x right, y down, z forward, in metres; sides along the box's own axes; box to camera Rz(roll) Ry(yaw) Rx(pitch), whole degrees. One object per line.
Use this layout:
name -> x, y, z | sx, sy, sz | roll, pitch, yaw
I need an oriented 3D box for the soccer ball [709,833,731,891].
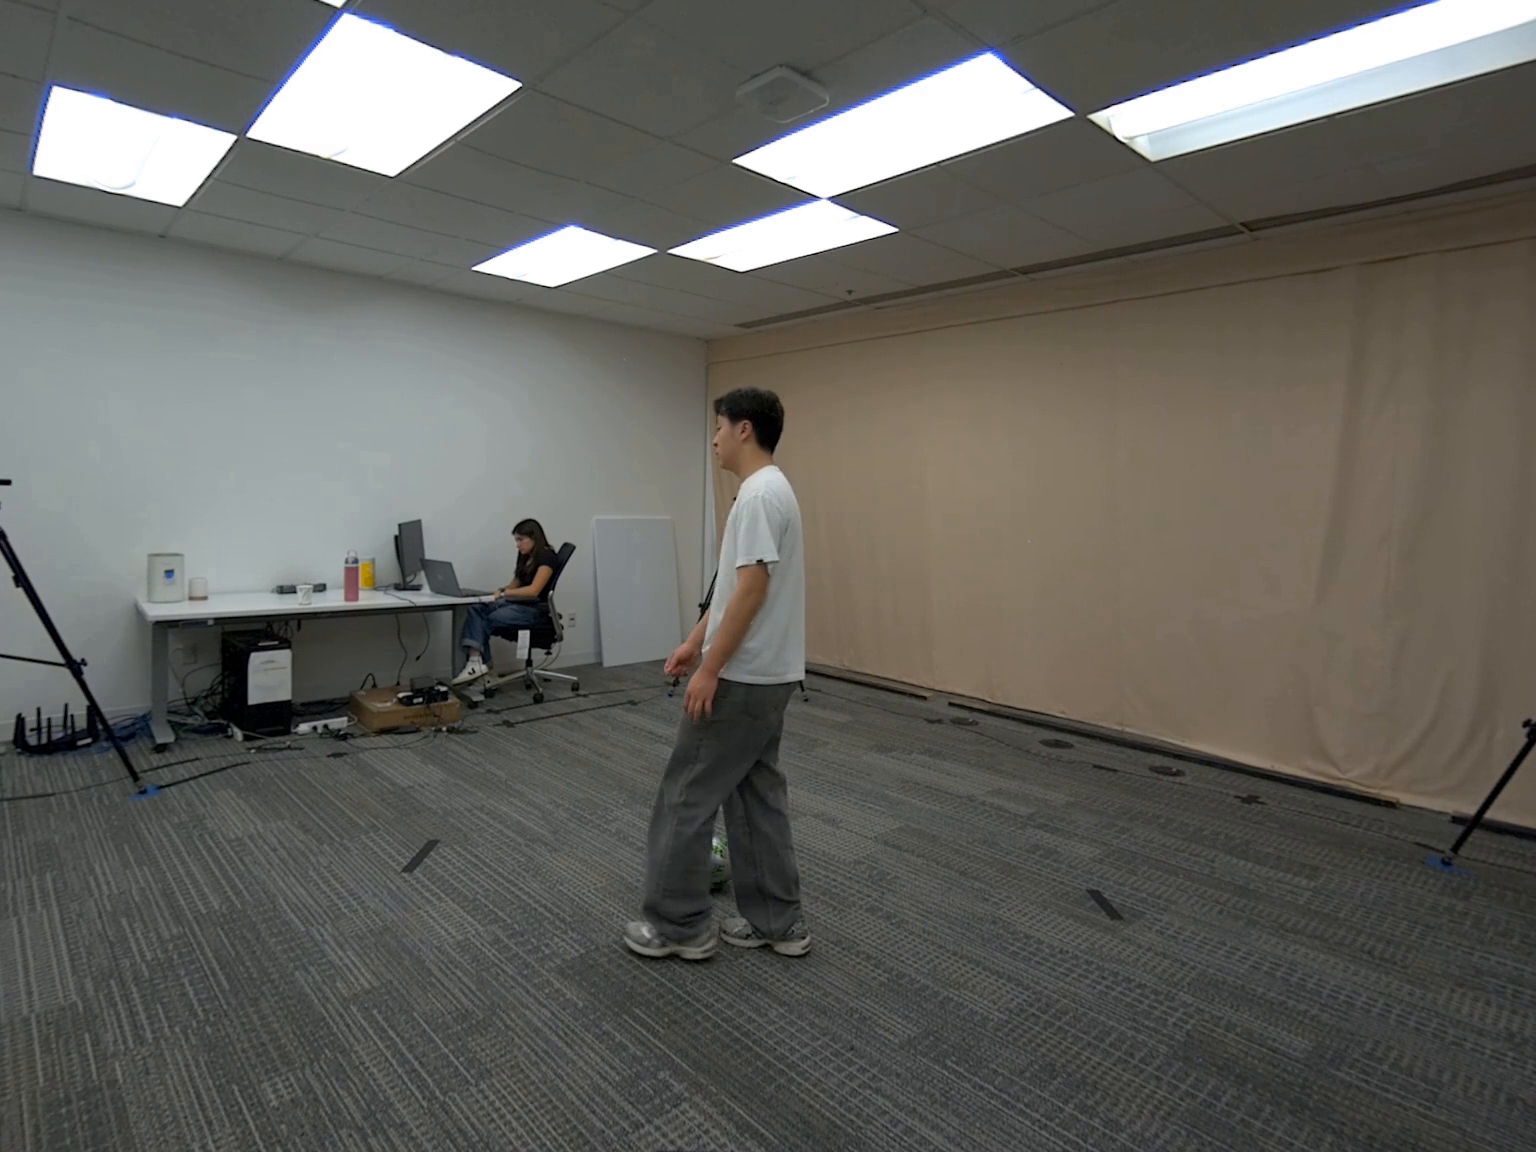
soccer ball -> -0.211, 1.024, 3.008 | 0.187, 0.187, 0.188 | 1, 4, -1
